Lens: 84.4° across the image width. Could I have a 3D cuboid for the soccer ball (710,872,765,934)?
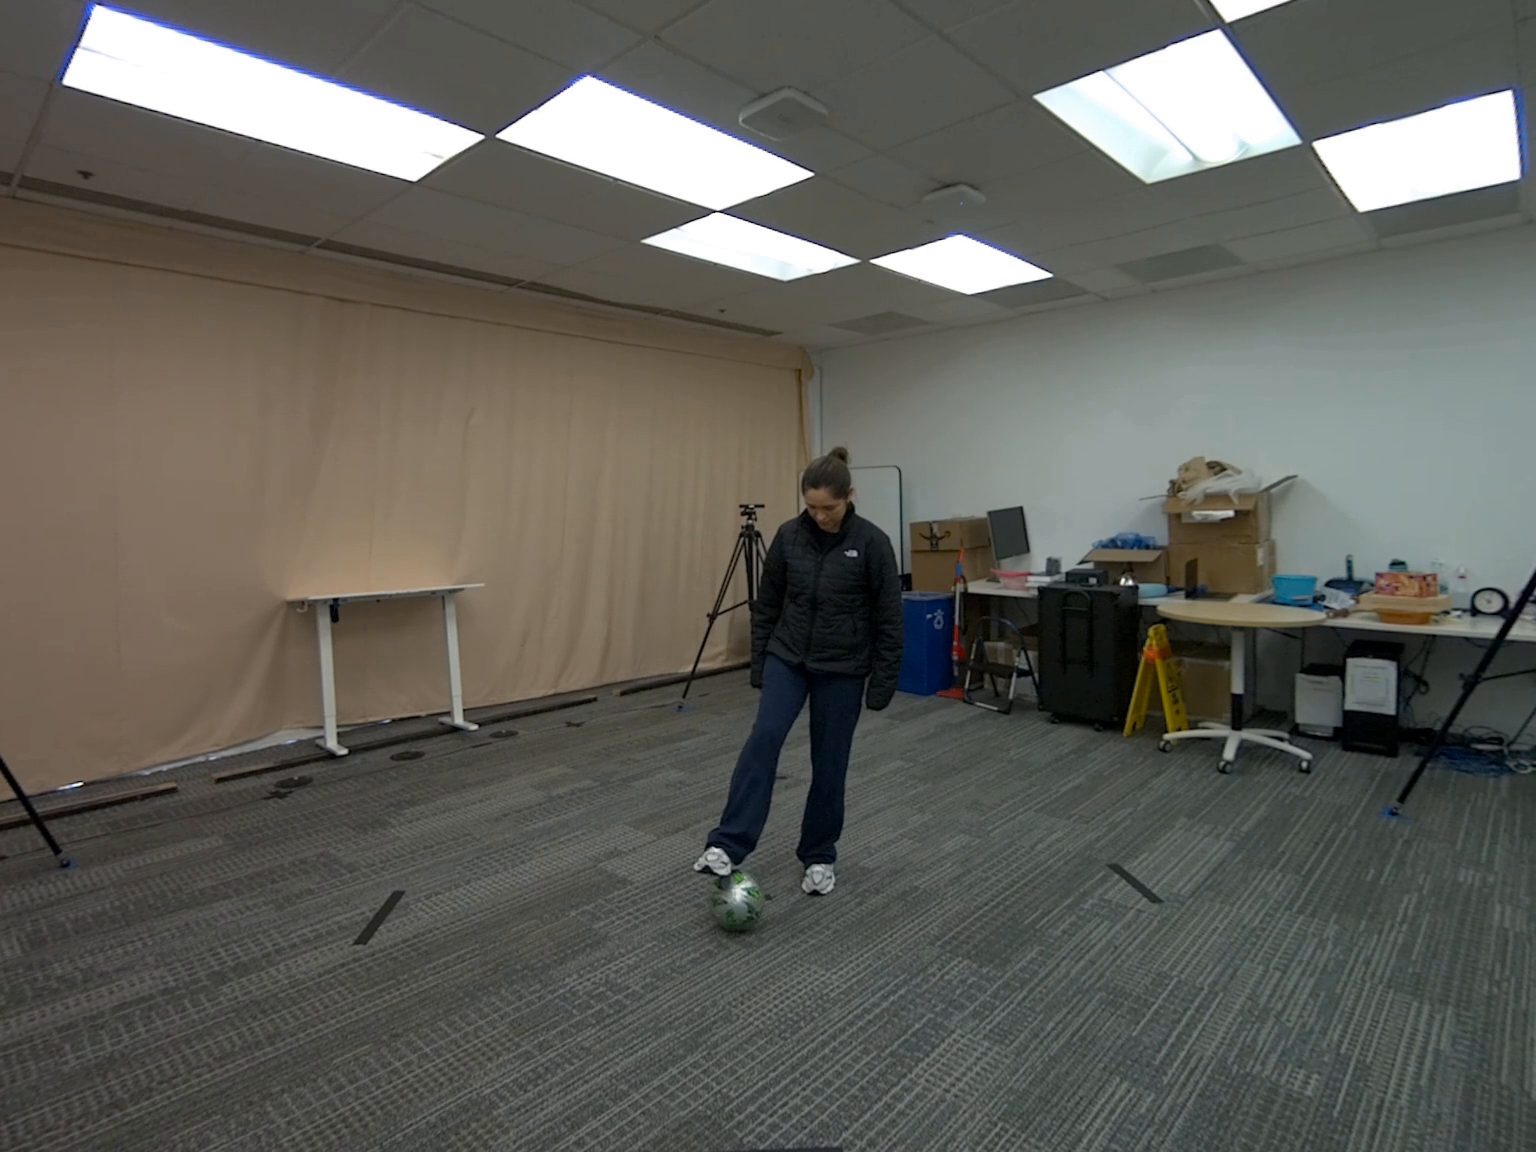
[{"bbox_3d":[-0.098,1.067,2.775,0.187,0.187,0.188,-1,4,-2],"label":"soccer ball"}]
